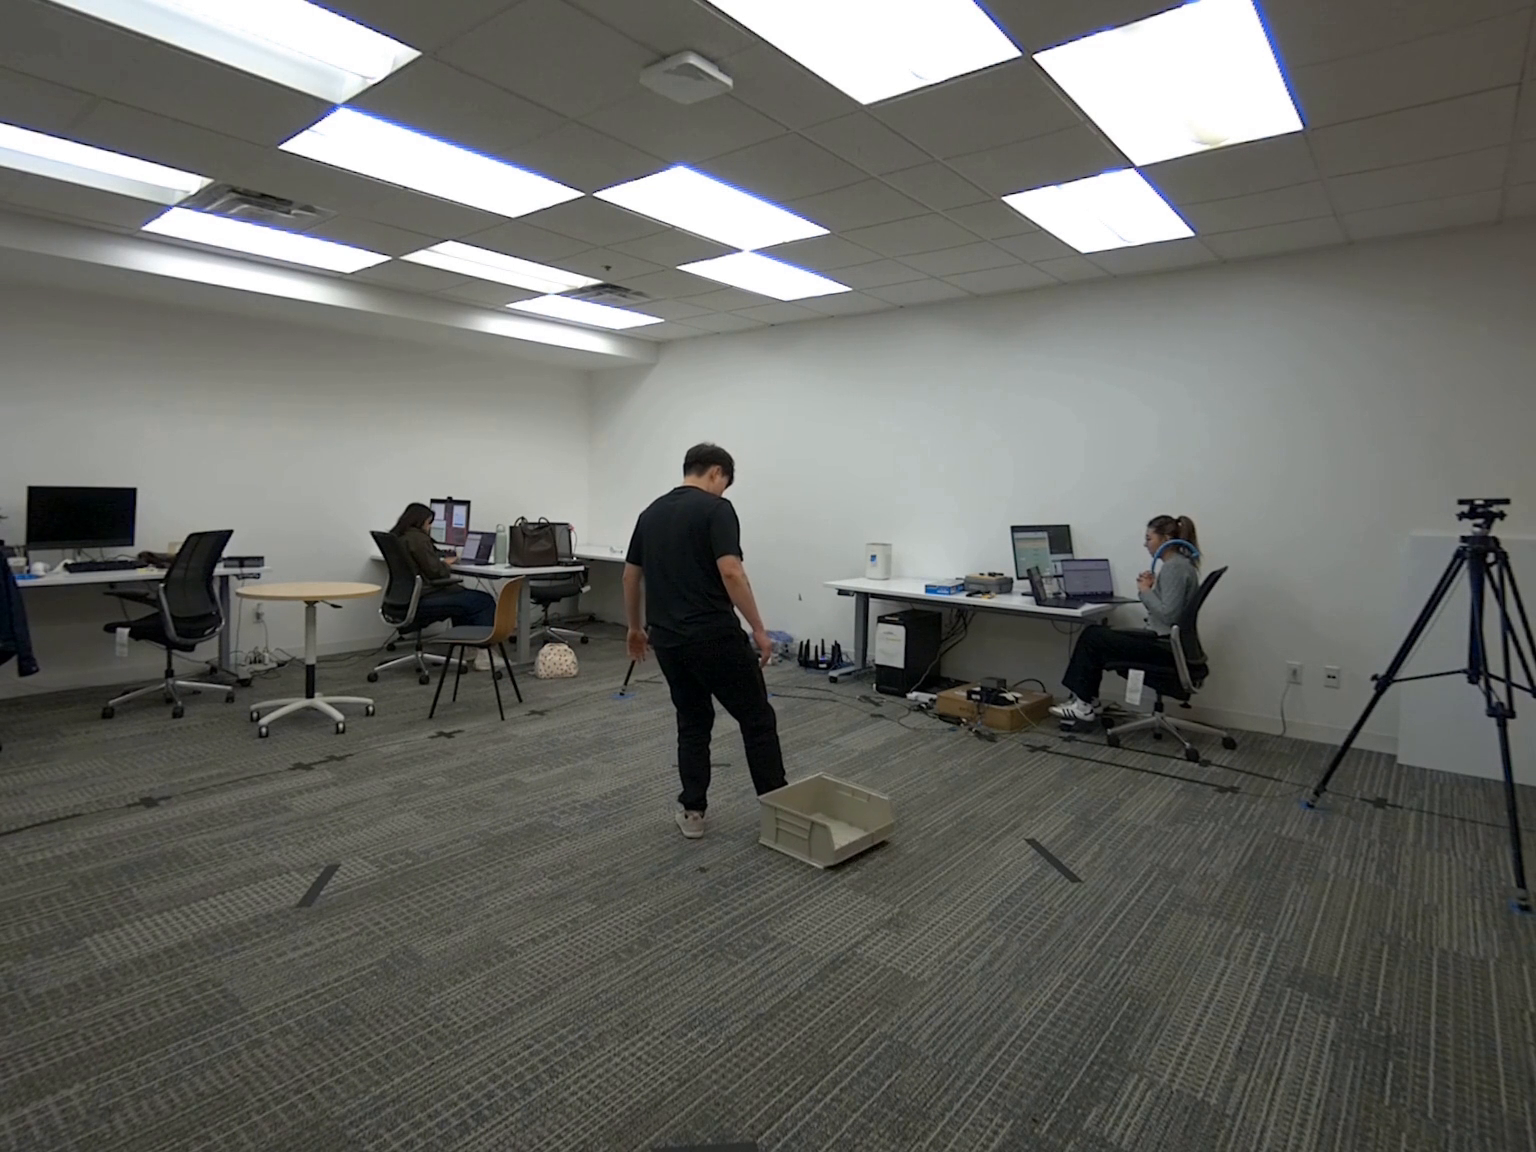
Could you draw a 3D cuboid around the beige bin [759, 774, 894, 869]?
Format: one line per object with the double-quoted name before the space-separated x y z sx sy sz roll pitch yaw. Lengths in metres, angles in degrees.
"beige bin" 0.227 0.964 3.359 0.390 0.188 0.410 6 8 41
